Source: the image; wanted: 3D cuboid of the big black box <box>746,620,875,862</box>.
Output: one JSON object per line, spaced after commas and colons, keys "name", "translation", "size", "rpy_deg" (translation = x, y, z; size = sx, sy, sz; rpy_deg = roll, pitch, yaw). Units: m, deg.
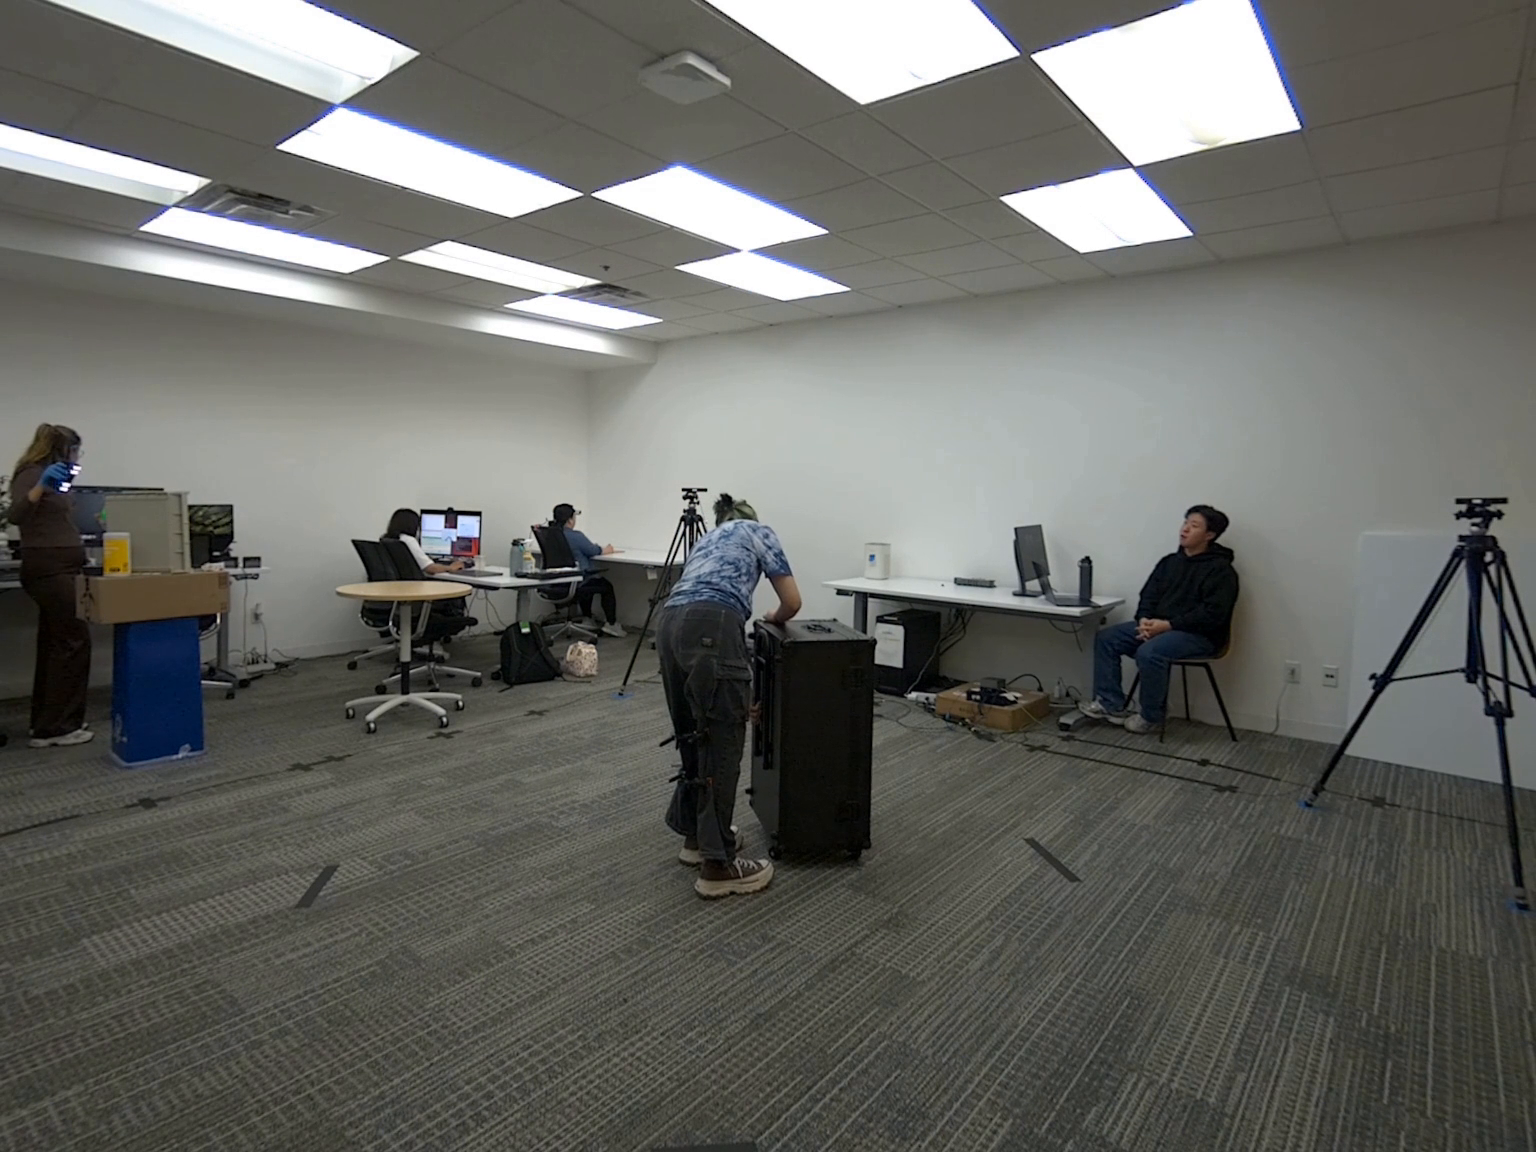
{"name": "big black box", "translation": [0.151, 0.637, 3.335], "size": [0.392, 0.858, 0.530], "rpy_deg": [0, 5, -12]}
